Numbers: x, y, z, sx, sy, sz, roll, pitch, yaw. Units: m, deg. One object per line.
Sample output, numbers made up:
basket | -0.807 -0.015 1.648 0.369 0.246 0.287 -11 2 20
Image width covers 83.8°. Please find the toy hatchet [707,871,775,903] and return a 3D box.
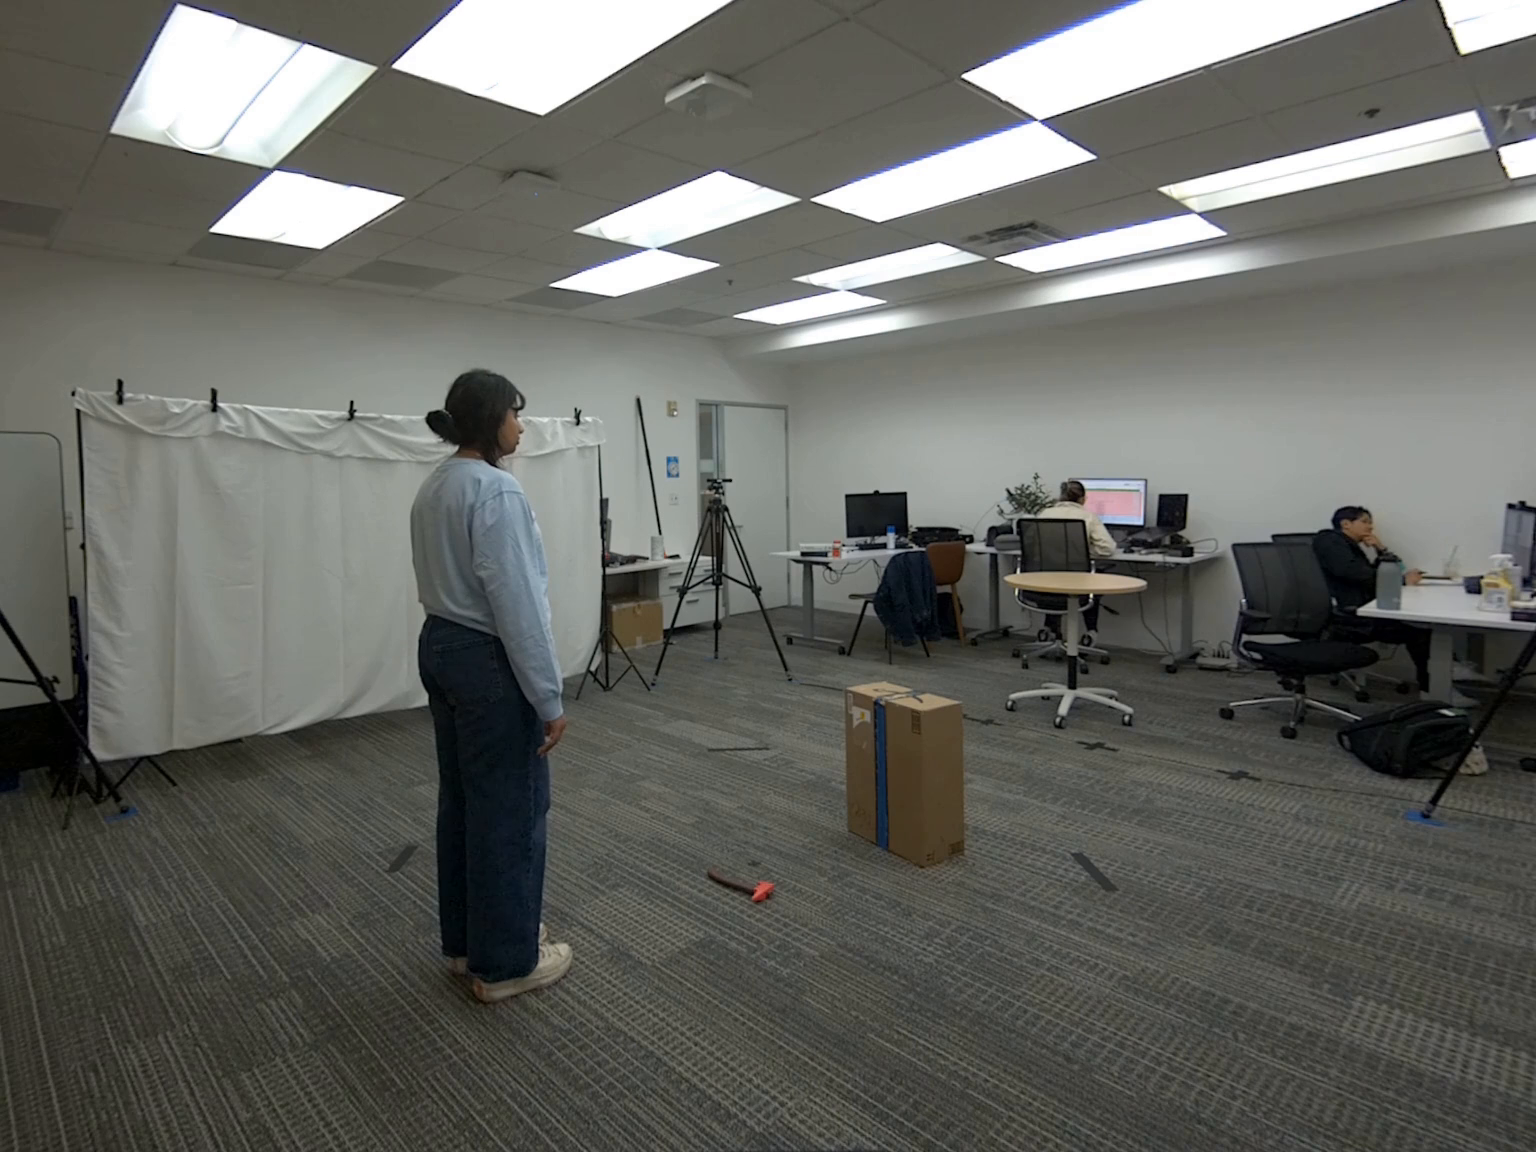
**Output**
toy hatchet | -0.080 1.051 2.943 0.128 0.029 0.278 -6 7 -38
